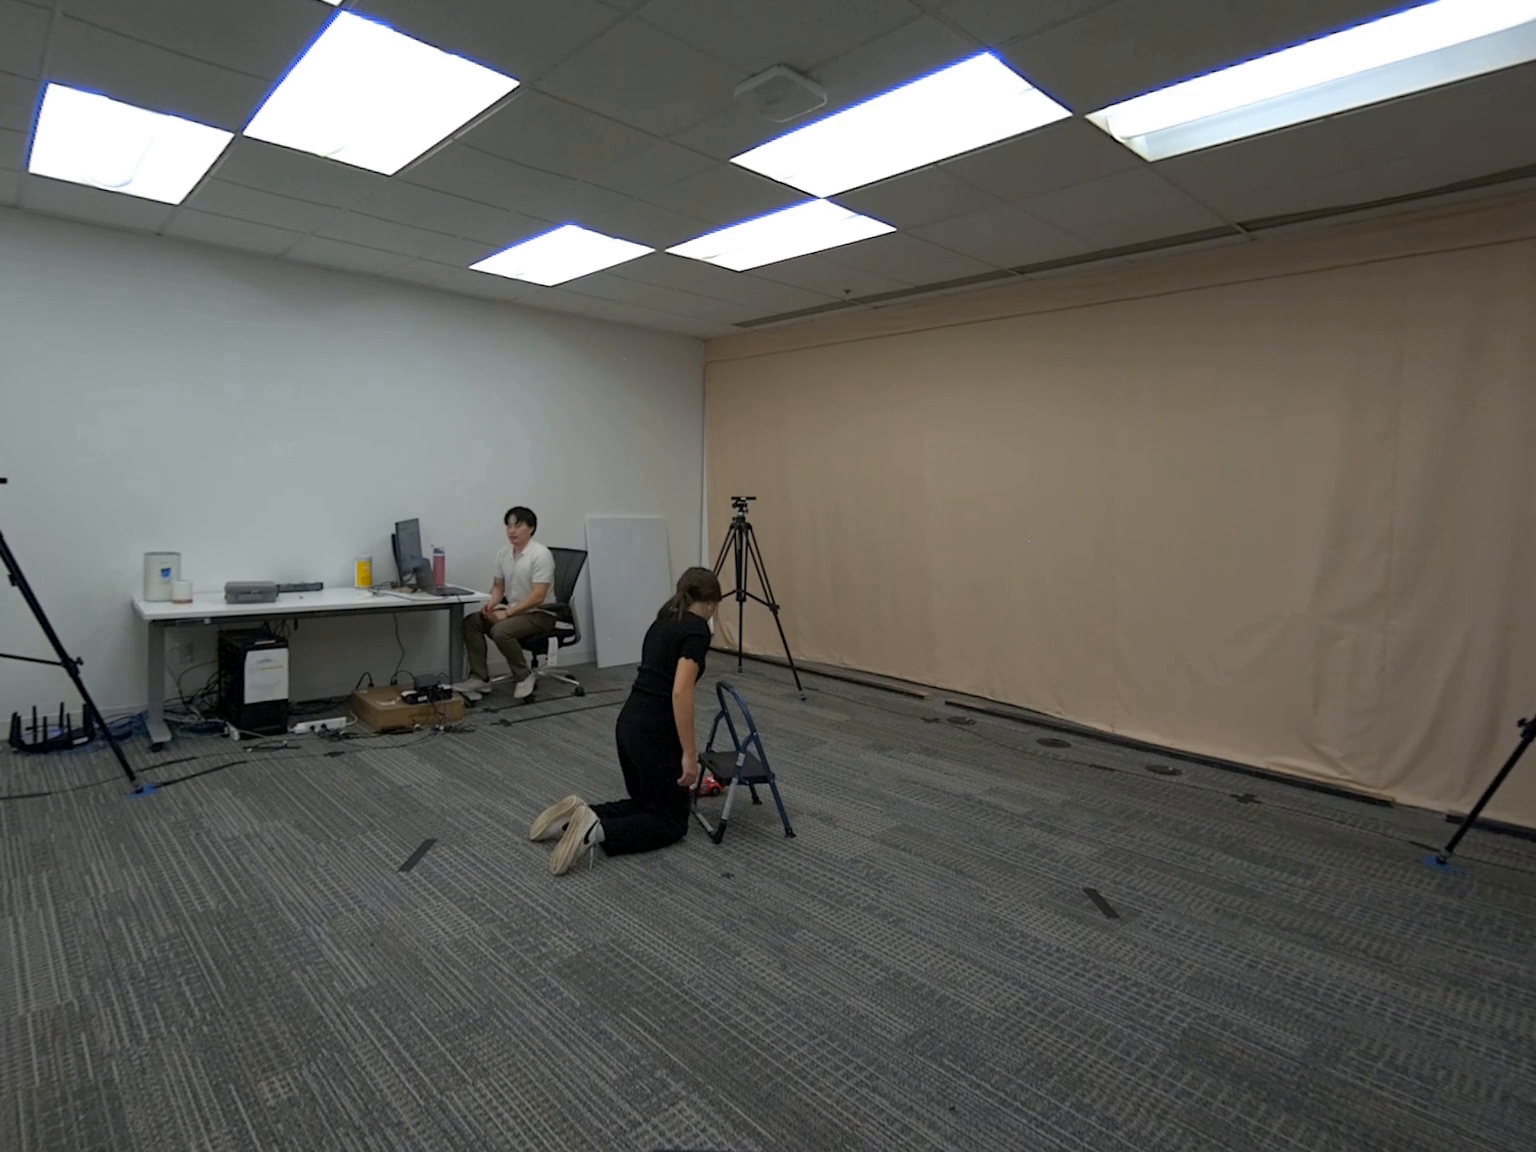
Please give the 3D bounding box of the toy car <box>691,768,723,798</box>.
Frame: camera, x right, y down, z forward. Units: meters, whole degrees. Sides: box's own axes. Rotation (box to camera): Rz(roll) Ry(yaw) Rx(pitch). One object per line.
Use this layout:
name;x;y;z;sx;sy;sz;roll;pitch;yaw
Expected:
toy car;-0.330;0.999;3.966;0.251;0.083;0.133;-12;7;-25
